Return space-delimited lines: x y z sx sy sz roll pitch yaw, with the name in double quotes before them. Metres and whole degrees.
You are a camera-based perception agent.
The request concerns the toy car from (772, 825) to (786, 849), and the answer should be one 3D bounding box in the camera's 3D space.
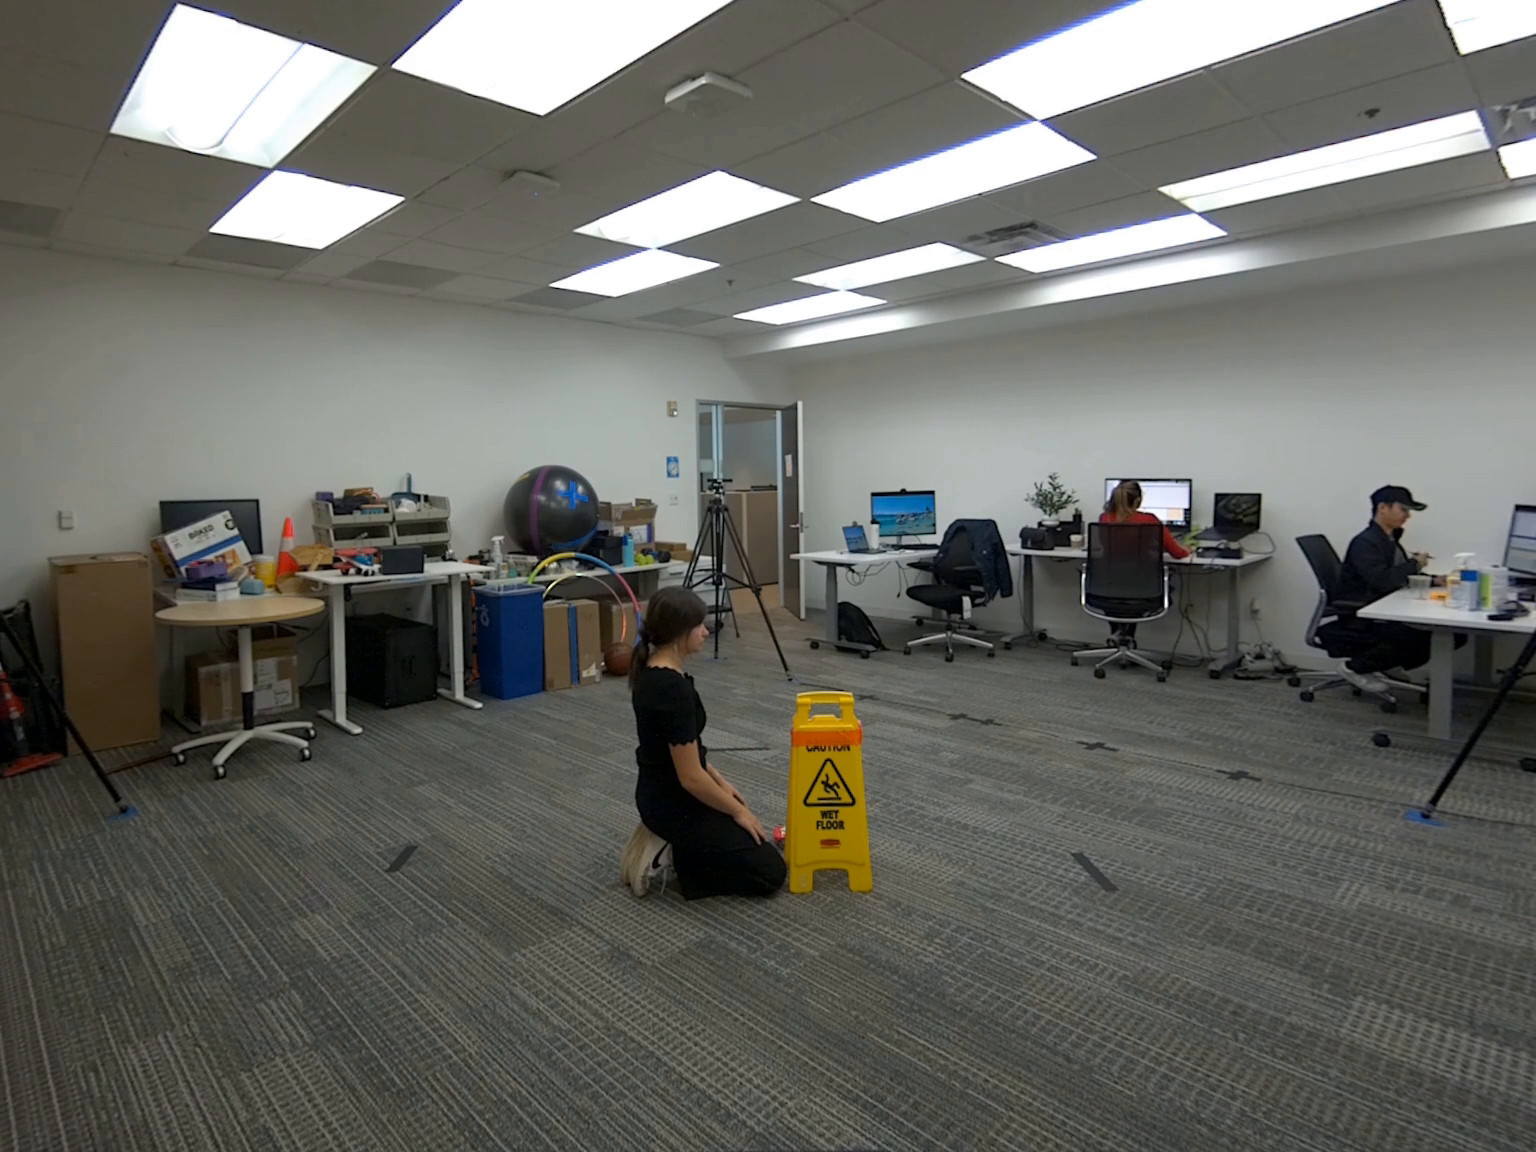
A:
"toy car" 0.162 0.993 3.270 0.254 0.083 0.131 -13 5 -3
